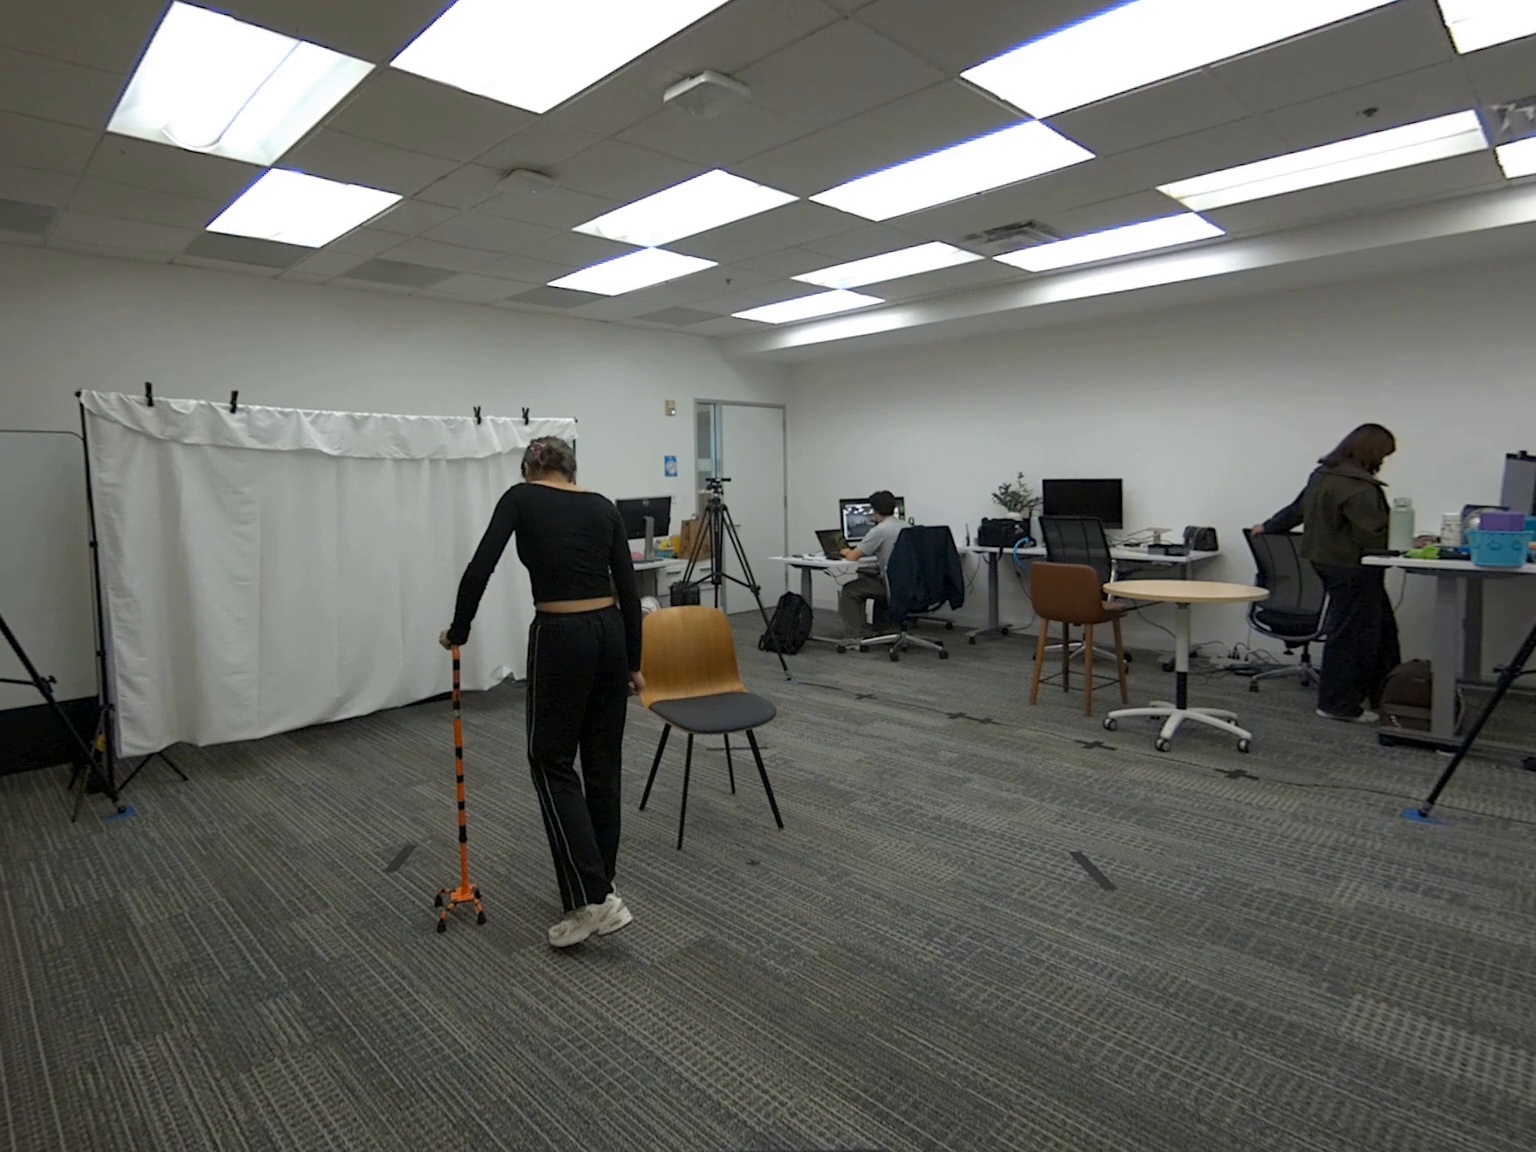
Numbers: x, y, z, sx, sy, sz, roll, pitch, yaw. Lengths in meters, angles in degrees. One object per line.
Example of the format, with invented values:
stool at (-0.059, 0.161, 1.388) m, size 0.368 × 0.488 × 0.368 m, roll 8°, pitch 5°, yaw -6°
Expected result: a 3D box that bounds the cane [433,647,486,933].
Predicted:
cane at (-1.008, 0.644, 2.758) m, size 0.148 × 0.906 × 0.211 m, roll -2°, pitch 3°, yaw -24°
